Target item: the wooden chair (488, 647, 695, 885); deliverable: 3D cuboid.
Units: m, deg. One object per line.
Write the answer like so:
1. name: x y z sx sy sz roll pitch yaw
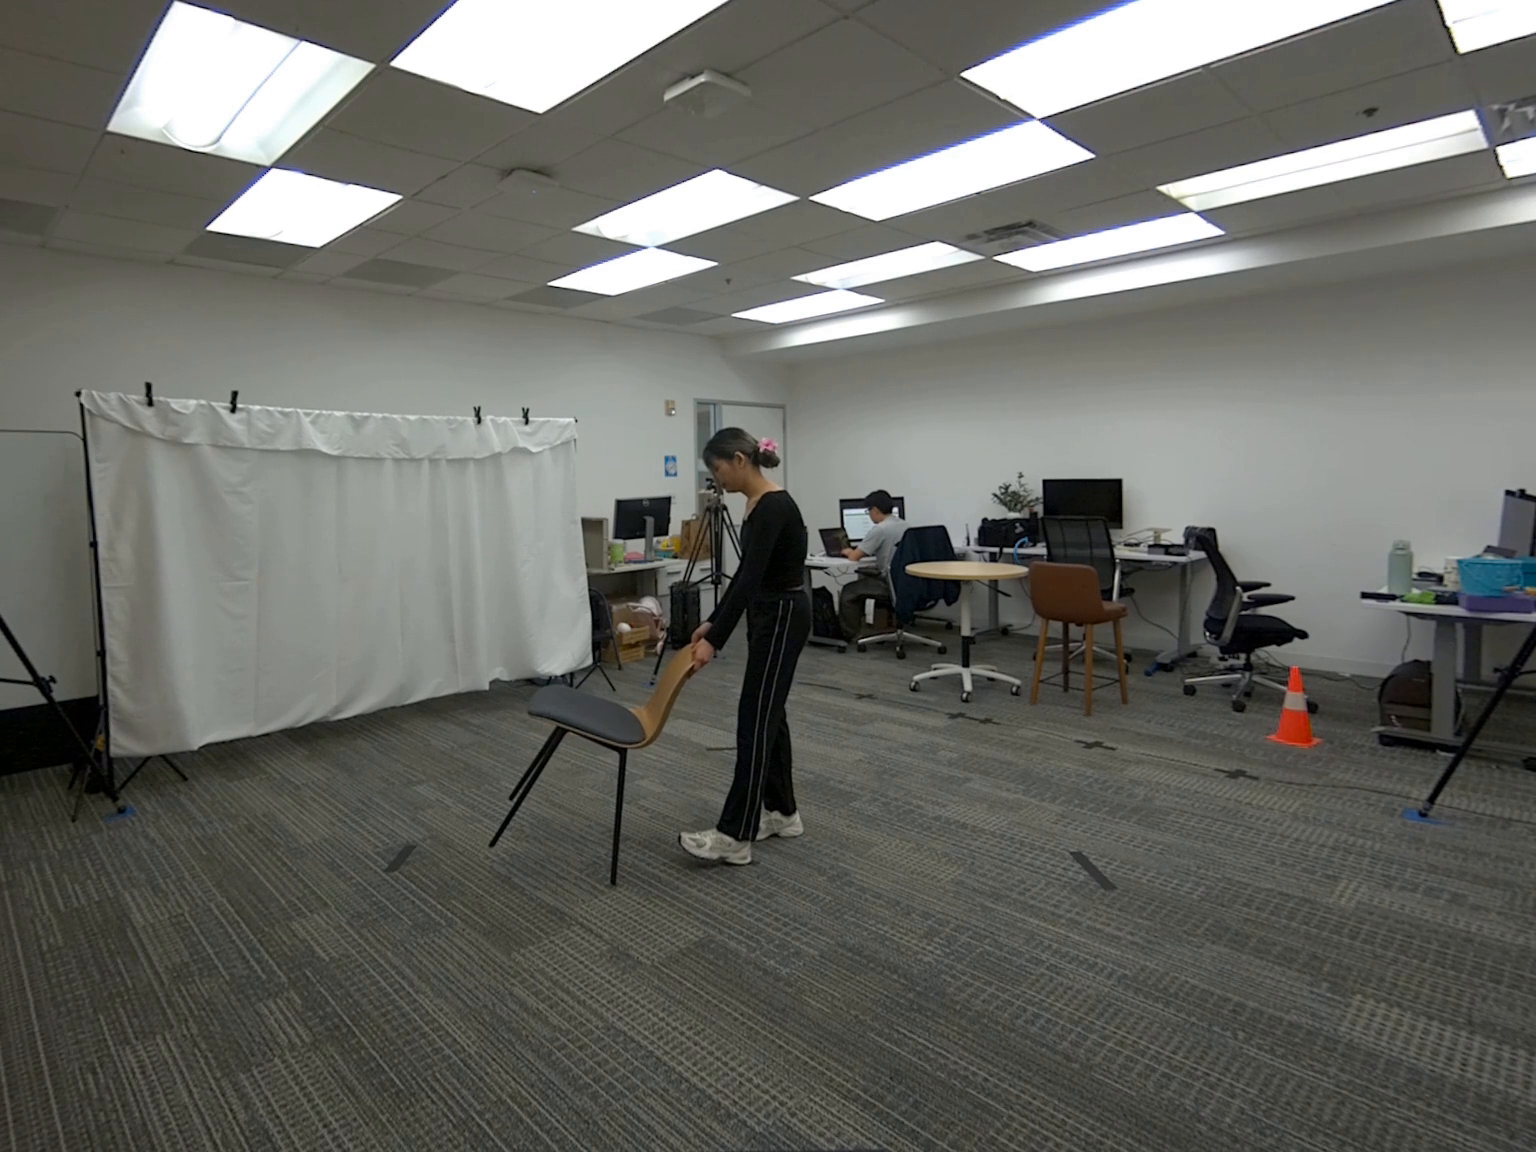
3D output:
1. wooden chair: -0.623 0.566 3.126 0.518 0.877 0.483 24 1 -9
